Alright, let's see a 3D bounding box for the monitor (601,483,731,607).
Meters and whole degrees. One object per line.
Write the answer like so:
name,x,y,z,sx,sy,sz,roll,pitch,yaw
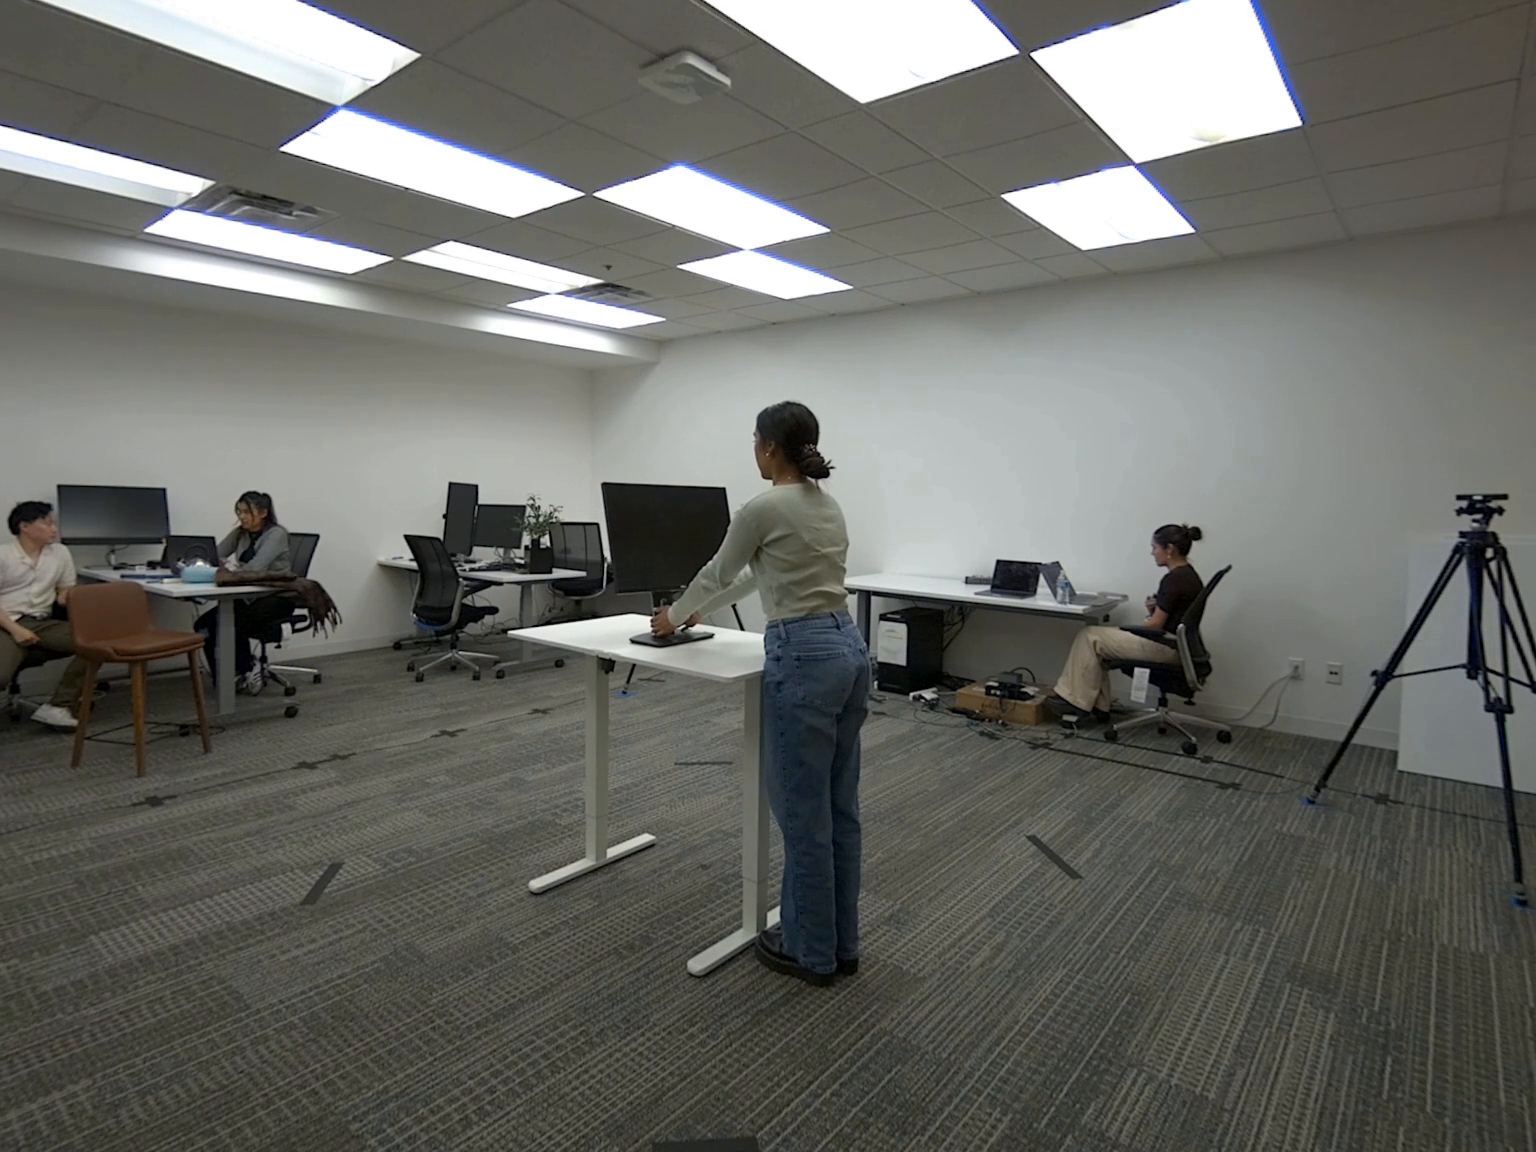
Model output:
monitor,-0.336,-0.044,2.833,0.193,0.521,0.523,3,4,43
